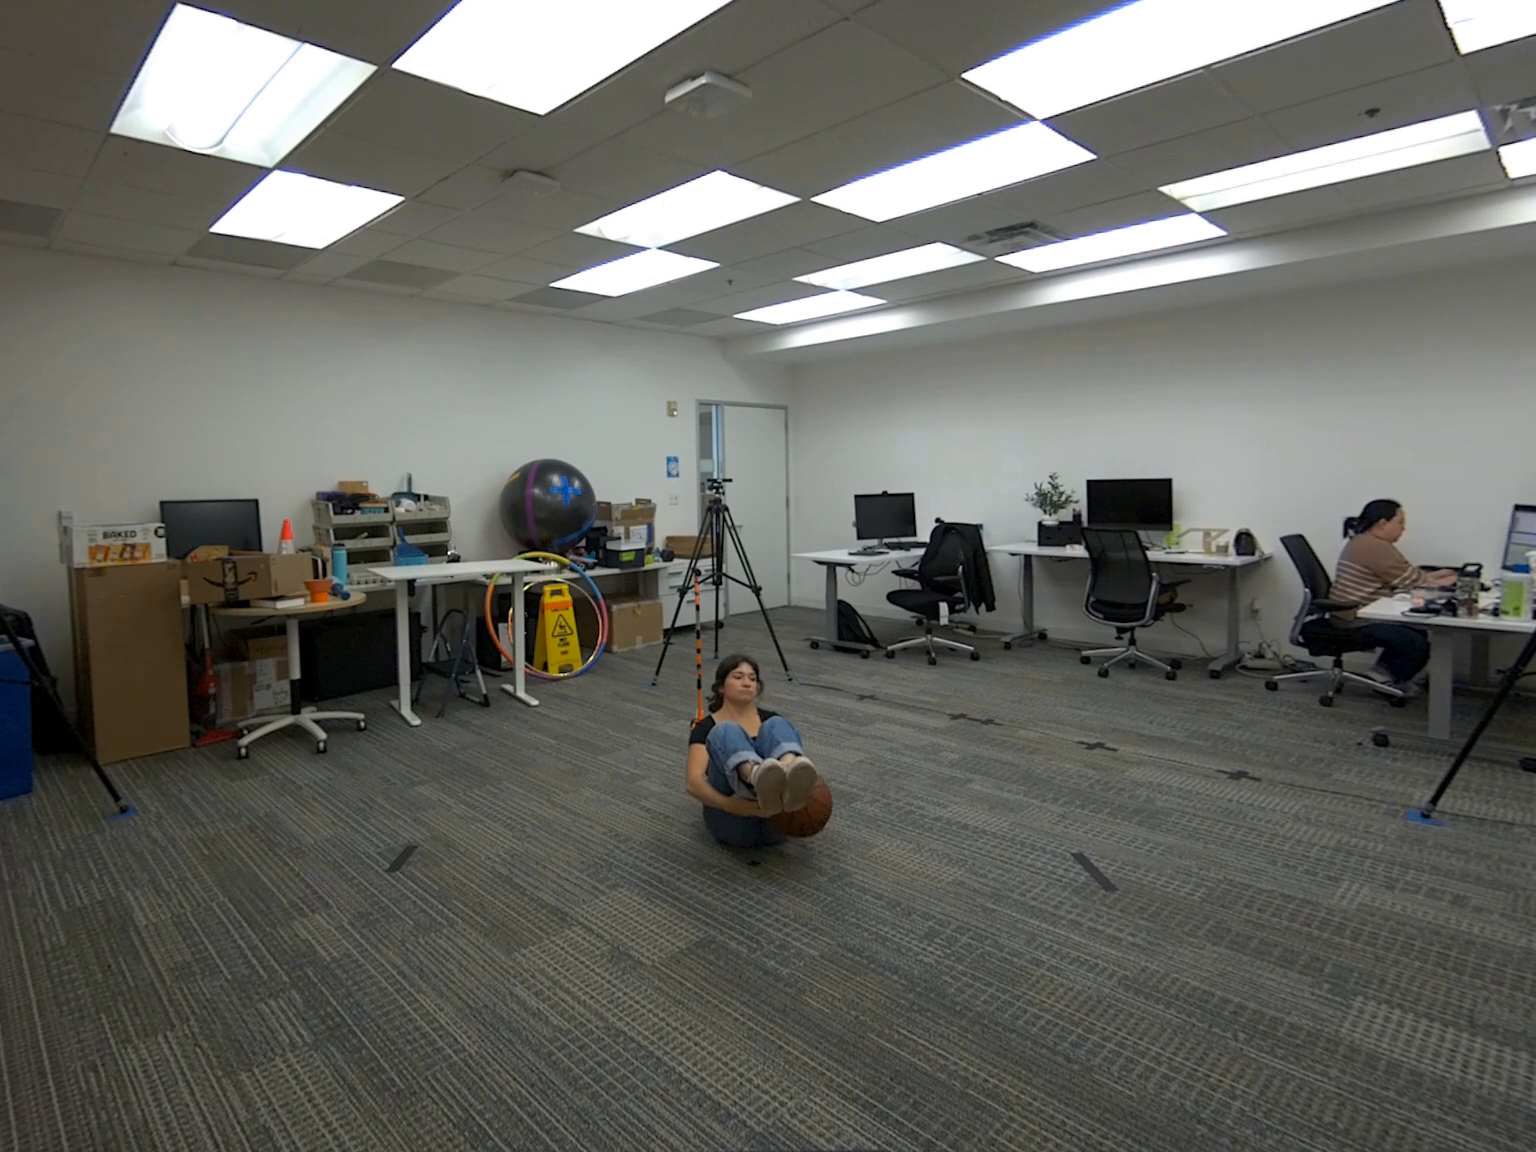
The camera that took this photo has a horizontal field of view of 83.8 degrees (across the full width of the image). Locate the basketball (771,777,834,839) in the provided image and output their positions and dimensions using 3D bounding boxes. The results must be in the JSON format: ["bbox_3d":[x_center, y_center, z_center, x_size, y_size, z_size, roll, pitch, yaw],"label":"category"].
[{"bbox_3d":[0.095,0.812,3.055,0.236,0.235,0.237,-1,5,-2],"label":"basketball"}]
